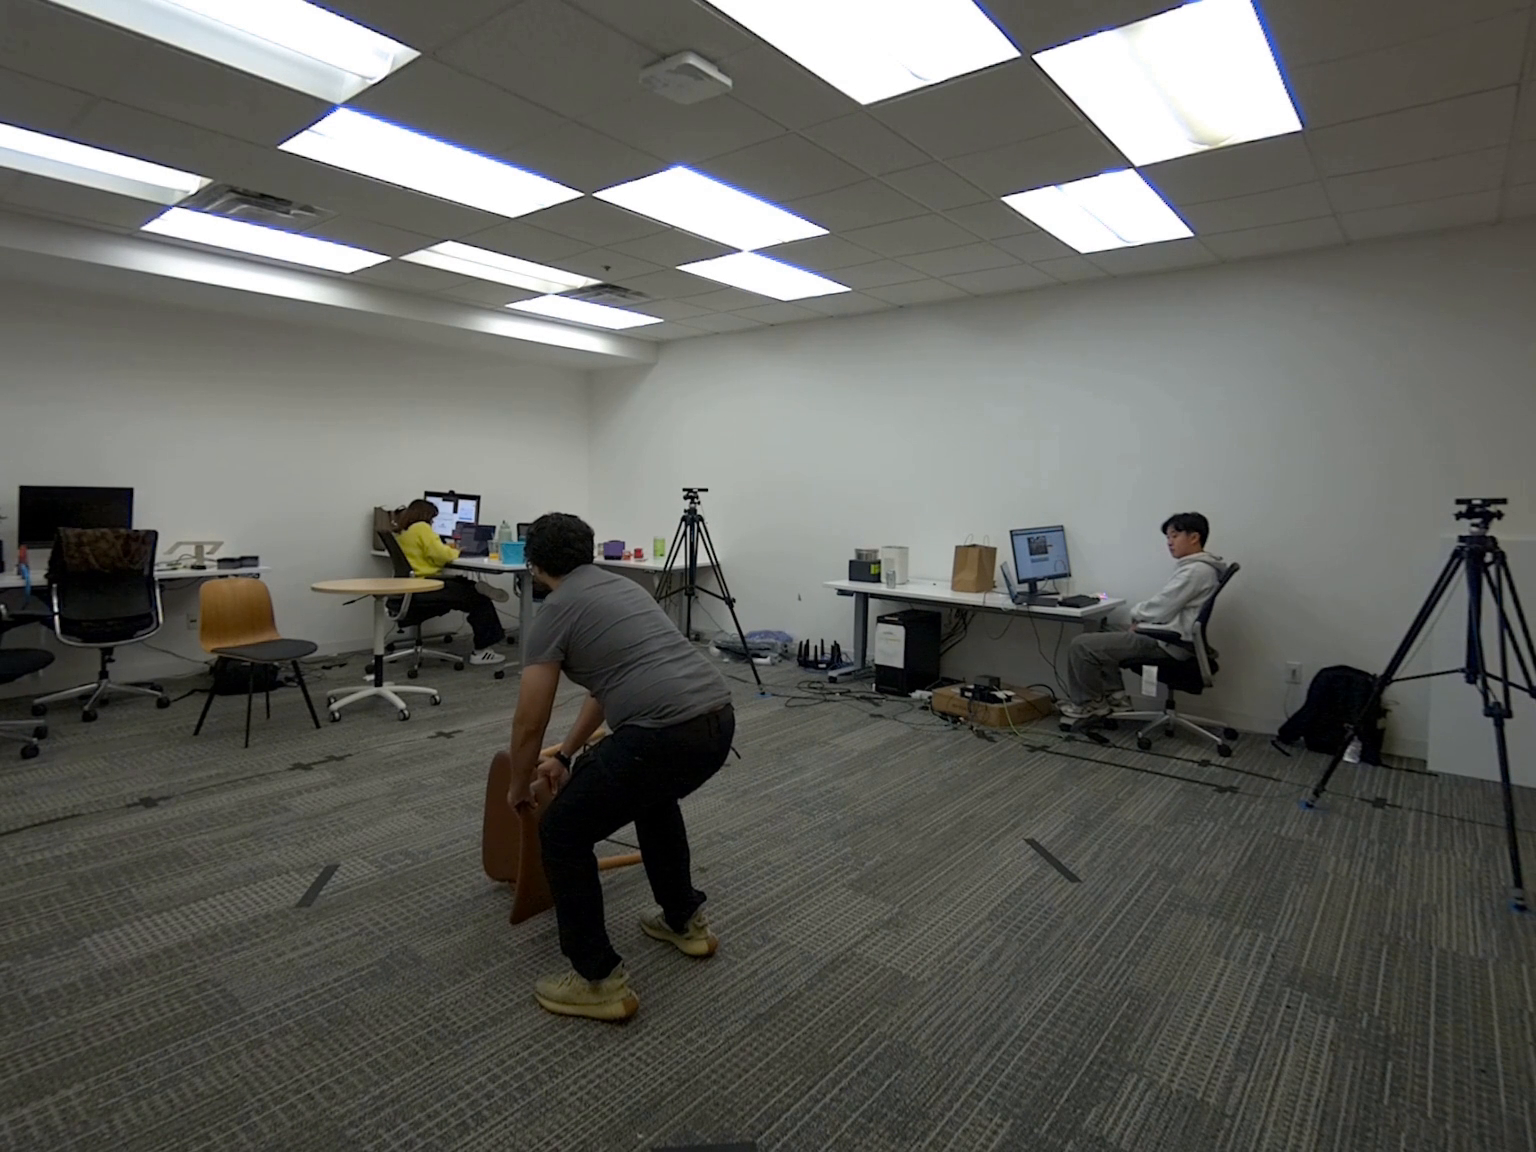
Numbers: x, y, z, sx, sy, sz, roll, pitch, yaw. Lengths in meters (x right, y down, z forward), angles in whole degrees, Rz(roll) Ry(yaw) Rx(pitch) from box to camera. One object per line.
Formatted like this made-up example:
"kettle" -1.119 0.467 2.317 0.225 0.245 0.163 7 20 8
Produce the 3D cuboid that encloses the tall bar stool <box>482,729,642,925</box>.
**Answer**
"tall bar stool" -0.721 0.839 2.977 0.481 0.456 0.864 5 1 29
